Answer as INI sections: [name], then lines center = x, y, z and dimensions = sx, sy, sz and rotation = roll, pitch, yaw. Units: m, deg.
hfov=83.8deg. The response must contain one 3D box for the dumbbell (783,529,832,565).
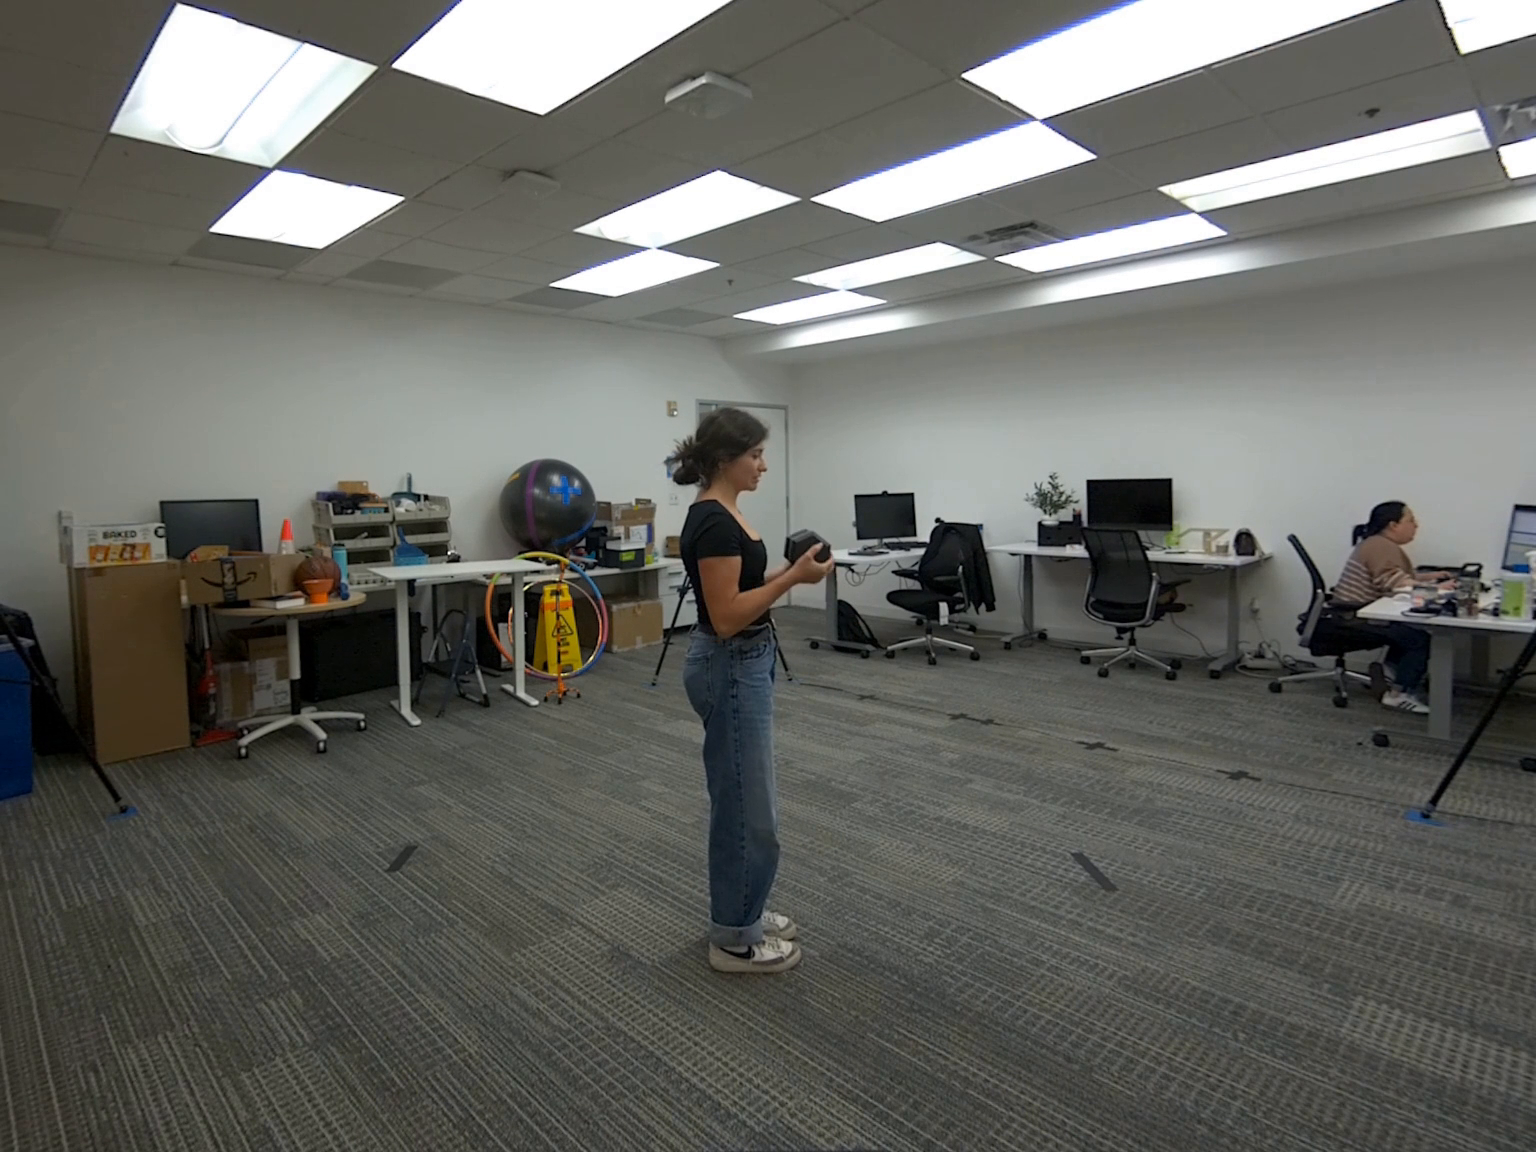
[dumbbell]
center = 0.112, -0.060, 2.444
dimensions = 0.109, 0.122, 0.294
rotation = 13, 5, -1
